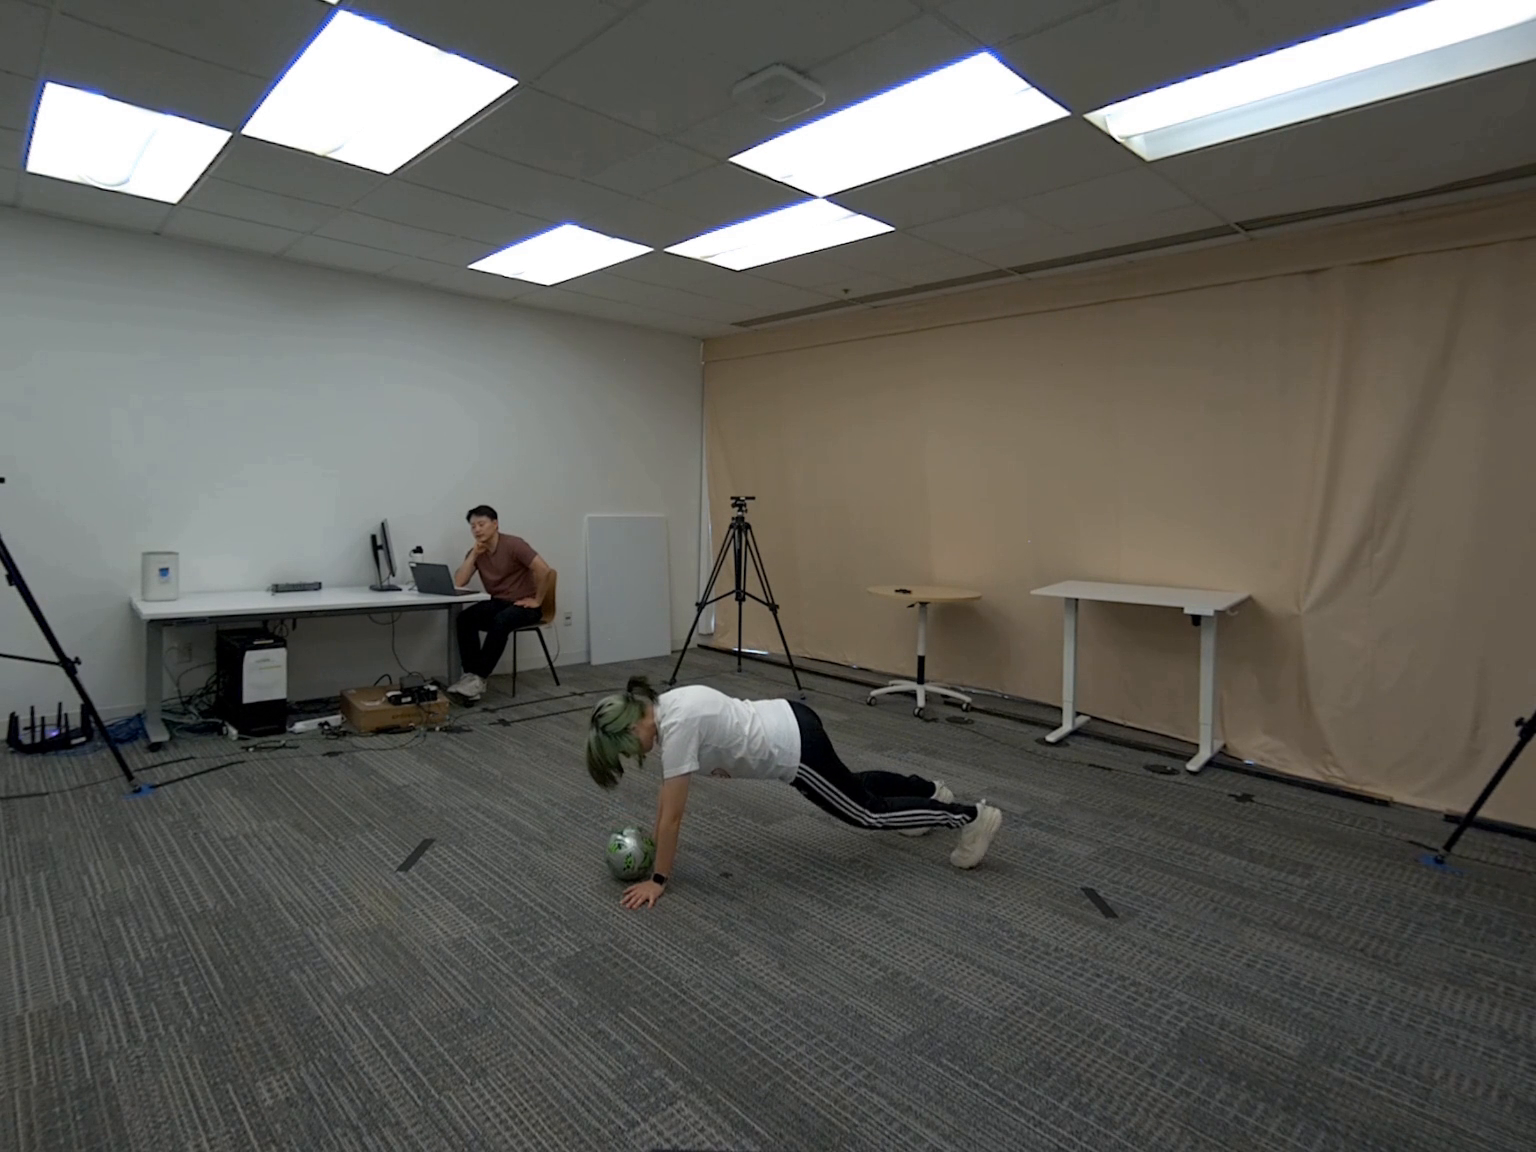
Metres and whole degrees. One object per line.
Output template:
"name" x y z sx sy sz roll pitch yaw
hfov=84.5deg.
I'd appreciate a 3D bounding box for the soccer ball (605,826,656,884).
"soccer ball" -0.509 1.009 3.066 0.187 0.187 0.188 1 4 -1
